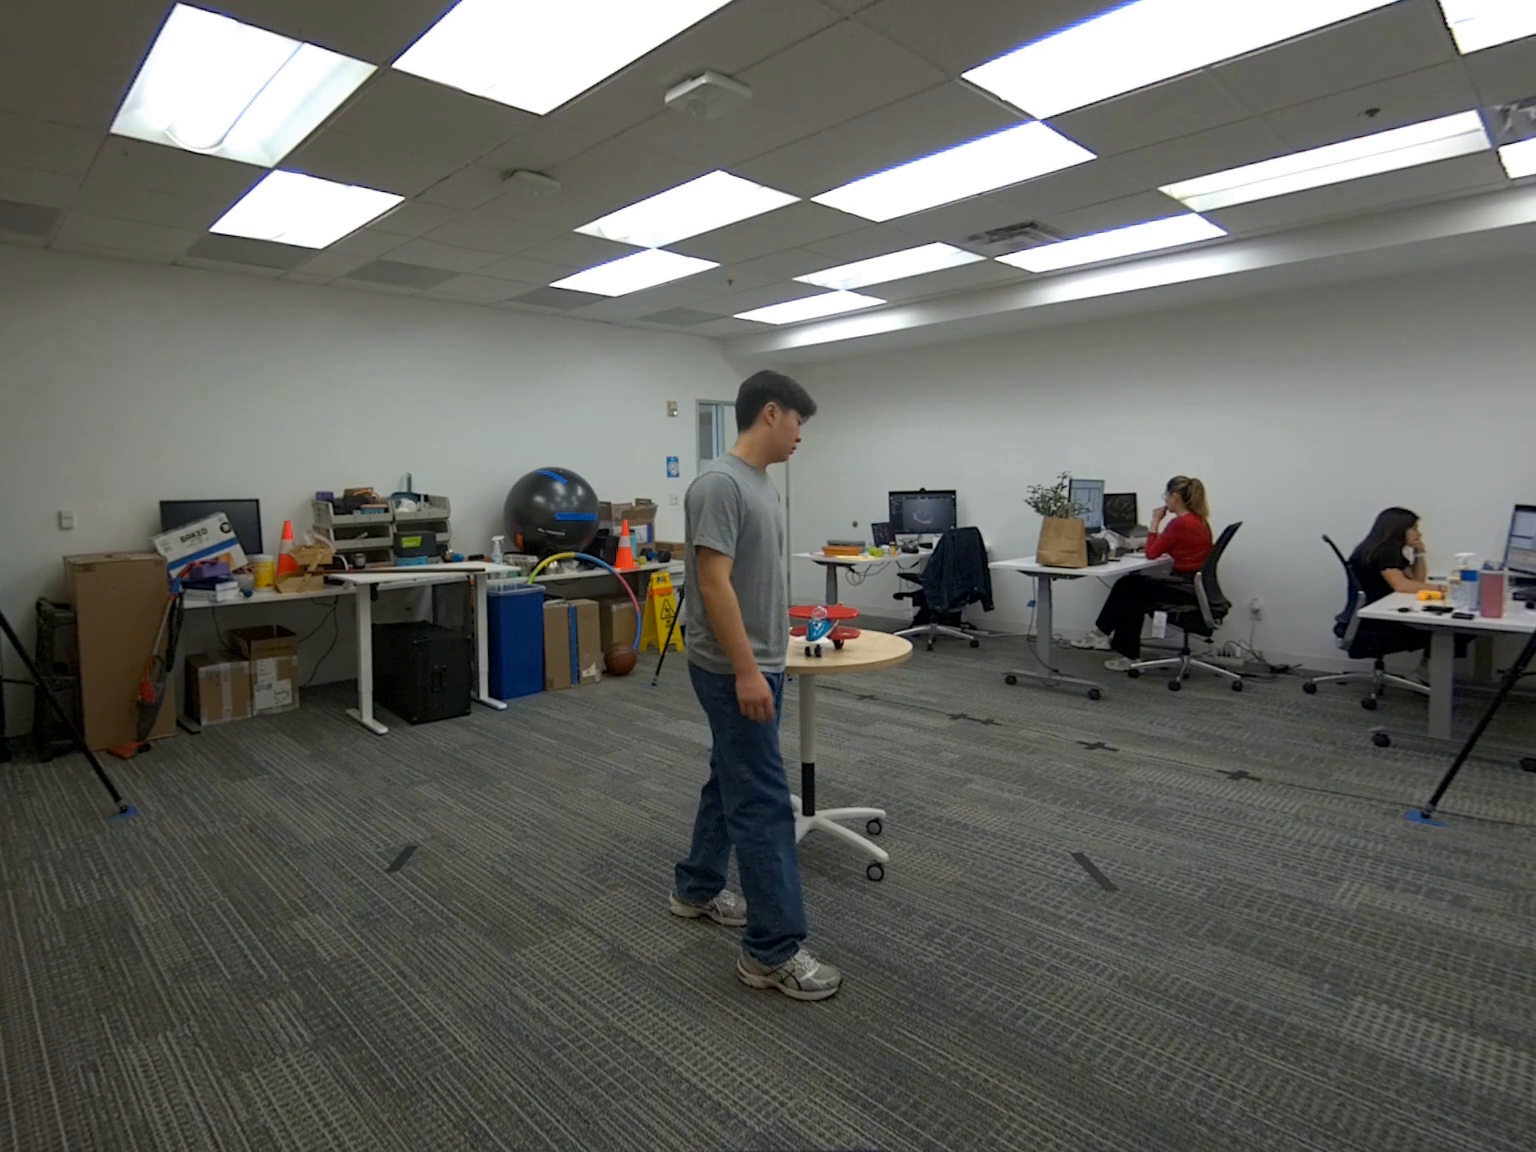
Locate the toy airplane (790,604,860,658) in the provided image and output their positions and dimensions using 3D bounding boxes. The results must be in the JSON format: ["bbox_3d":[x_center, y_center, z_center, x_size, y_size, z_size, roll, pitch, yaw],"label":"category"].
[{"bbox_3d":[0.208,0.190,3.010,0.249,0.156,0.262,-3,5,-8],"label":"toy airplane"}]
